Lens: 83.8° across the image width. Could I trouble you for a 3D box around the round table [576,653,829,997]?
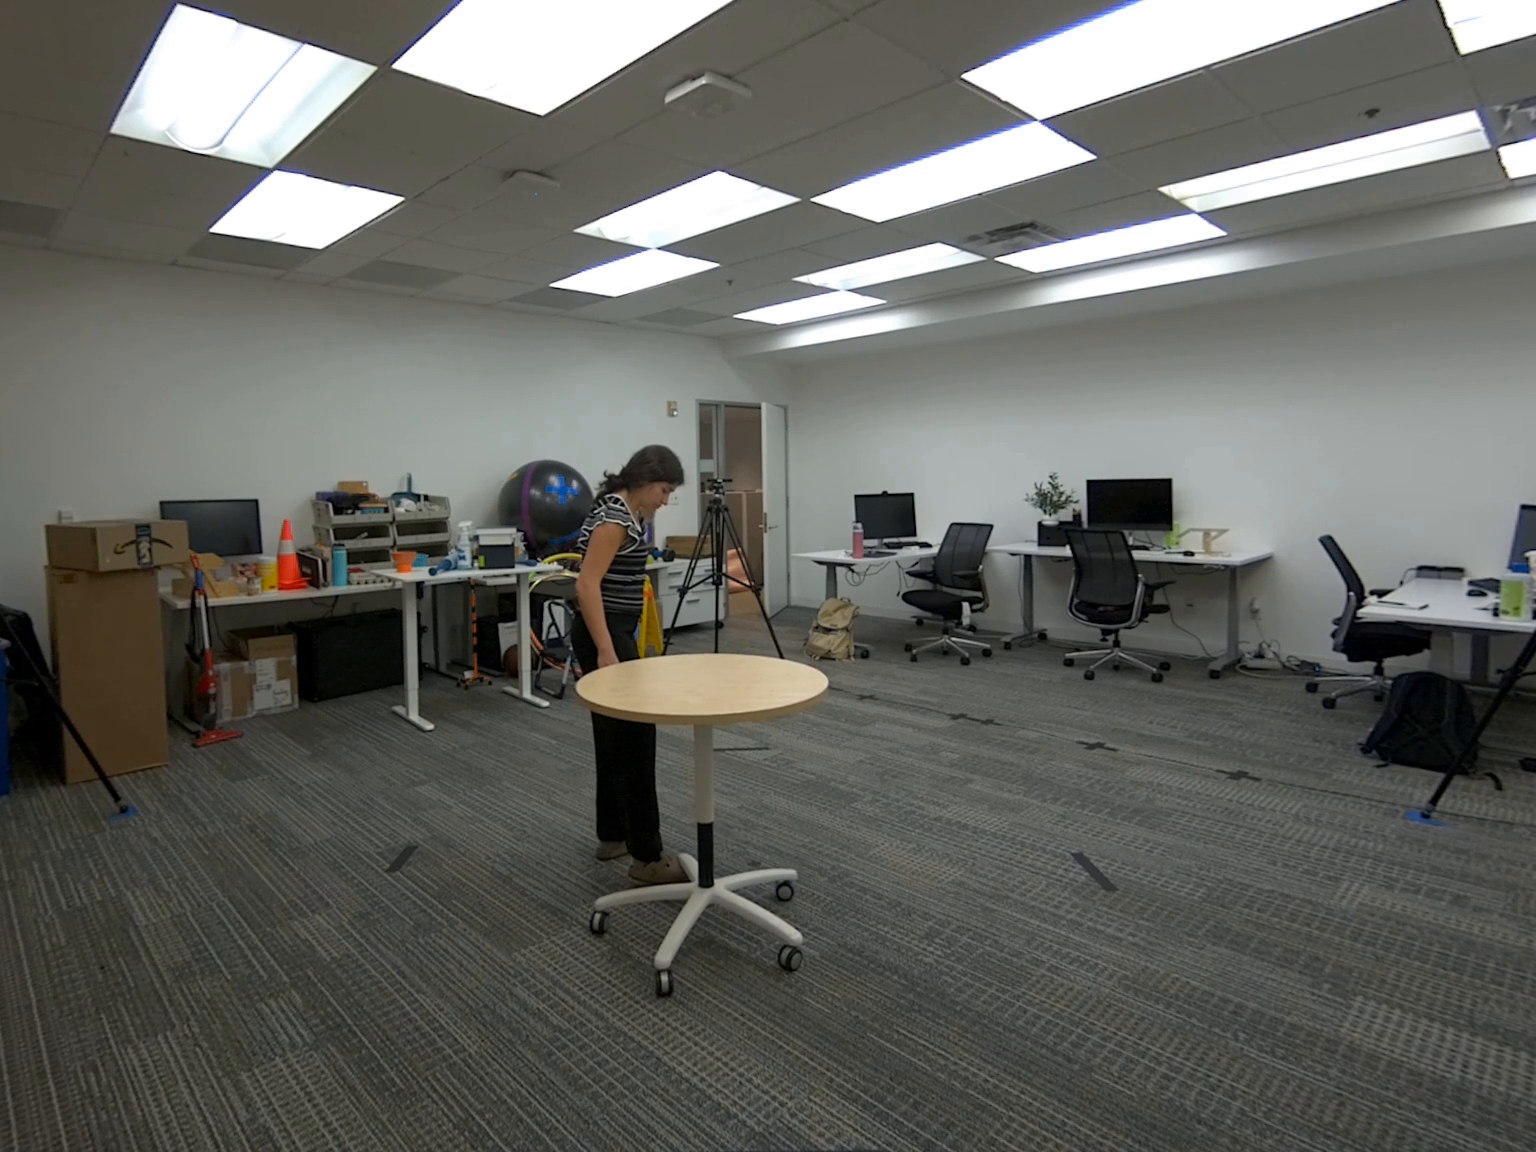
[{"bbox_3d":[-0.200,0.710,2.621,0.784,0.783,0.789,-1,5,-2],"label":"round table"}]
